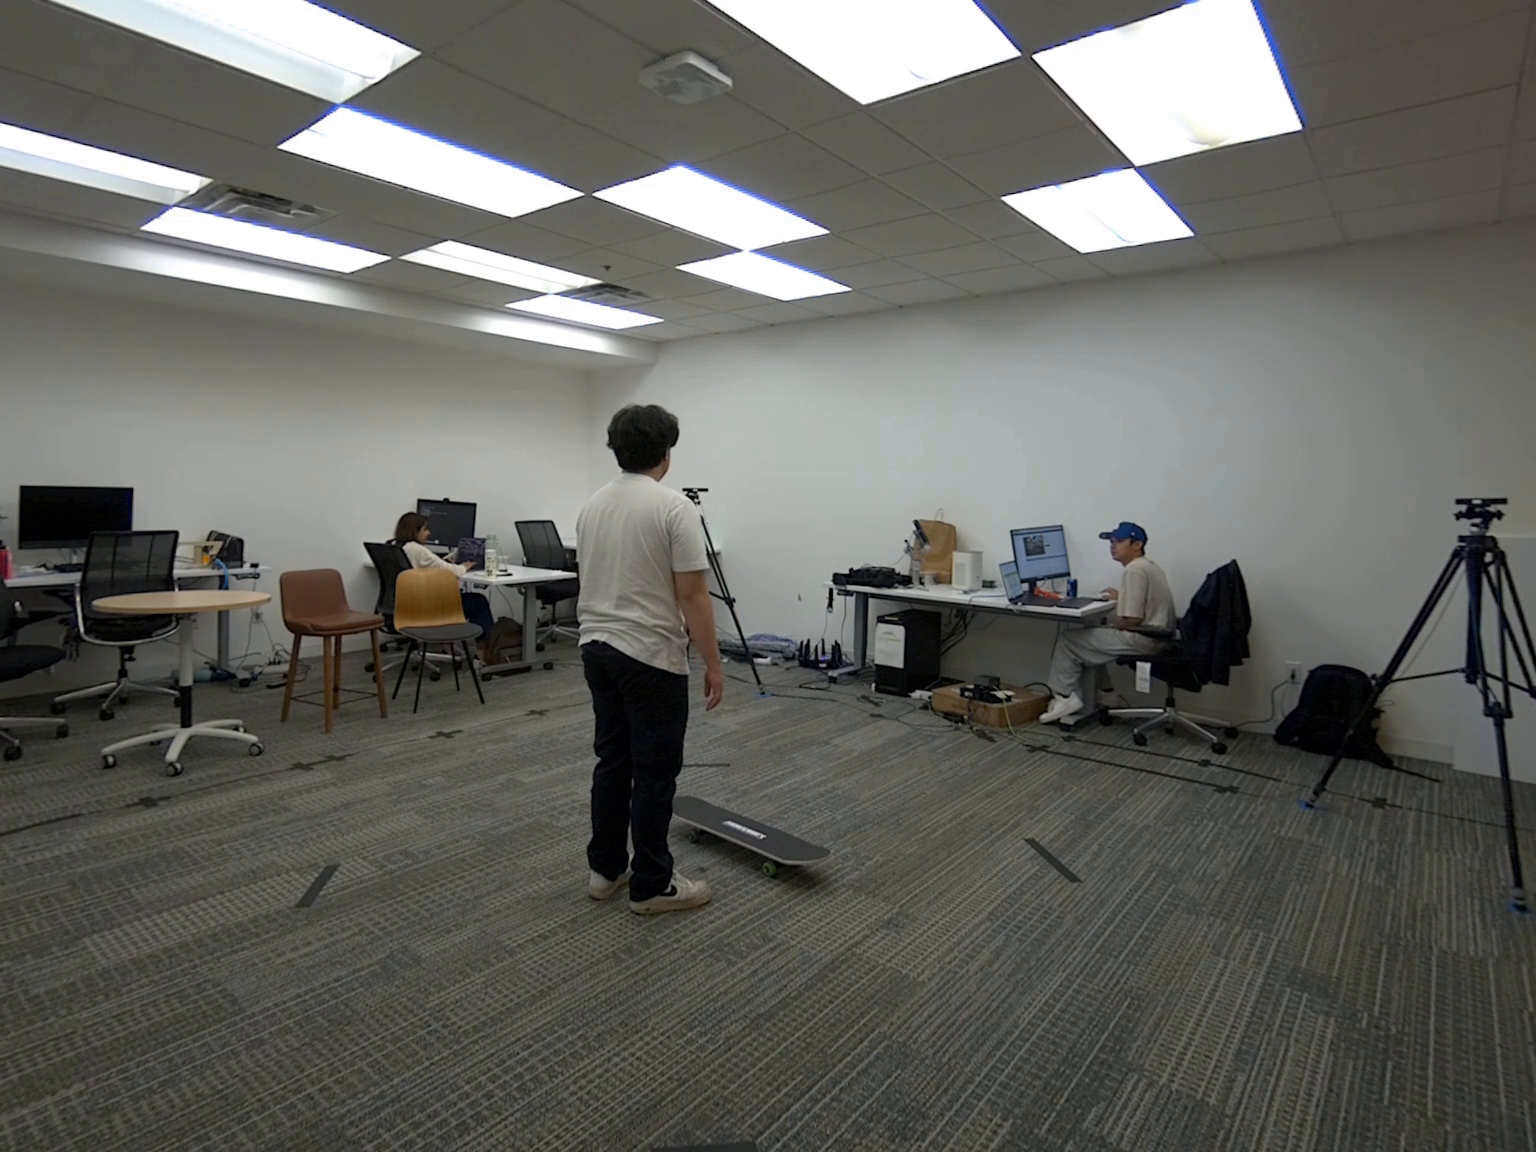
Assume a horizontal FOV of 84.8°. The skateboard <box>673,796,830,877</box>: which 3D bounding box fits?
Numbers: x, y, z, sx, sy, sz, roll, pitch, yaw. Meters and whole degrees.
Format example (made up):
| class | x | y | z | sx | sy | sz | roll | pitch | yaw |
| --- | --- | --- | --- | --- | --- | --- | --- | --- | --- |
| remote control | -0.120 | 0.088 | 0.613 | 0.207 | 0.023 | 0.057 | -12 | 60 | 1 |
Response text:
| class | x | y | z | sx | sy | sz | roll | pitch | yaw |
| --- | --- | --- | --- | --- | --- | --- | --- | --- | --- |
| skateboard | -0.102 | 0.997 | 3.259 | 0.813 | 0.110 | 0.188 | 7 | 7 | 43 |
